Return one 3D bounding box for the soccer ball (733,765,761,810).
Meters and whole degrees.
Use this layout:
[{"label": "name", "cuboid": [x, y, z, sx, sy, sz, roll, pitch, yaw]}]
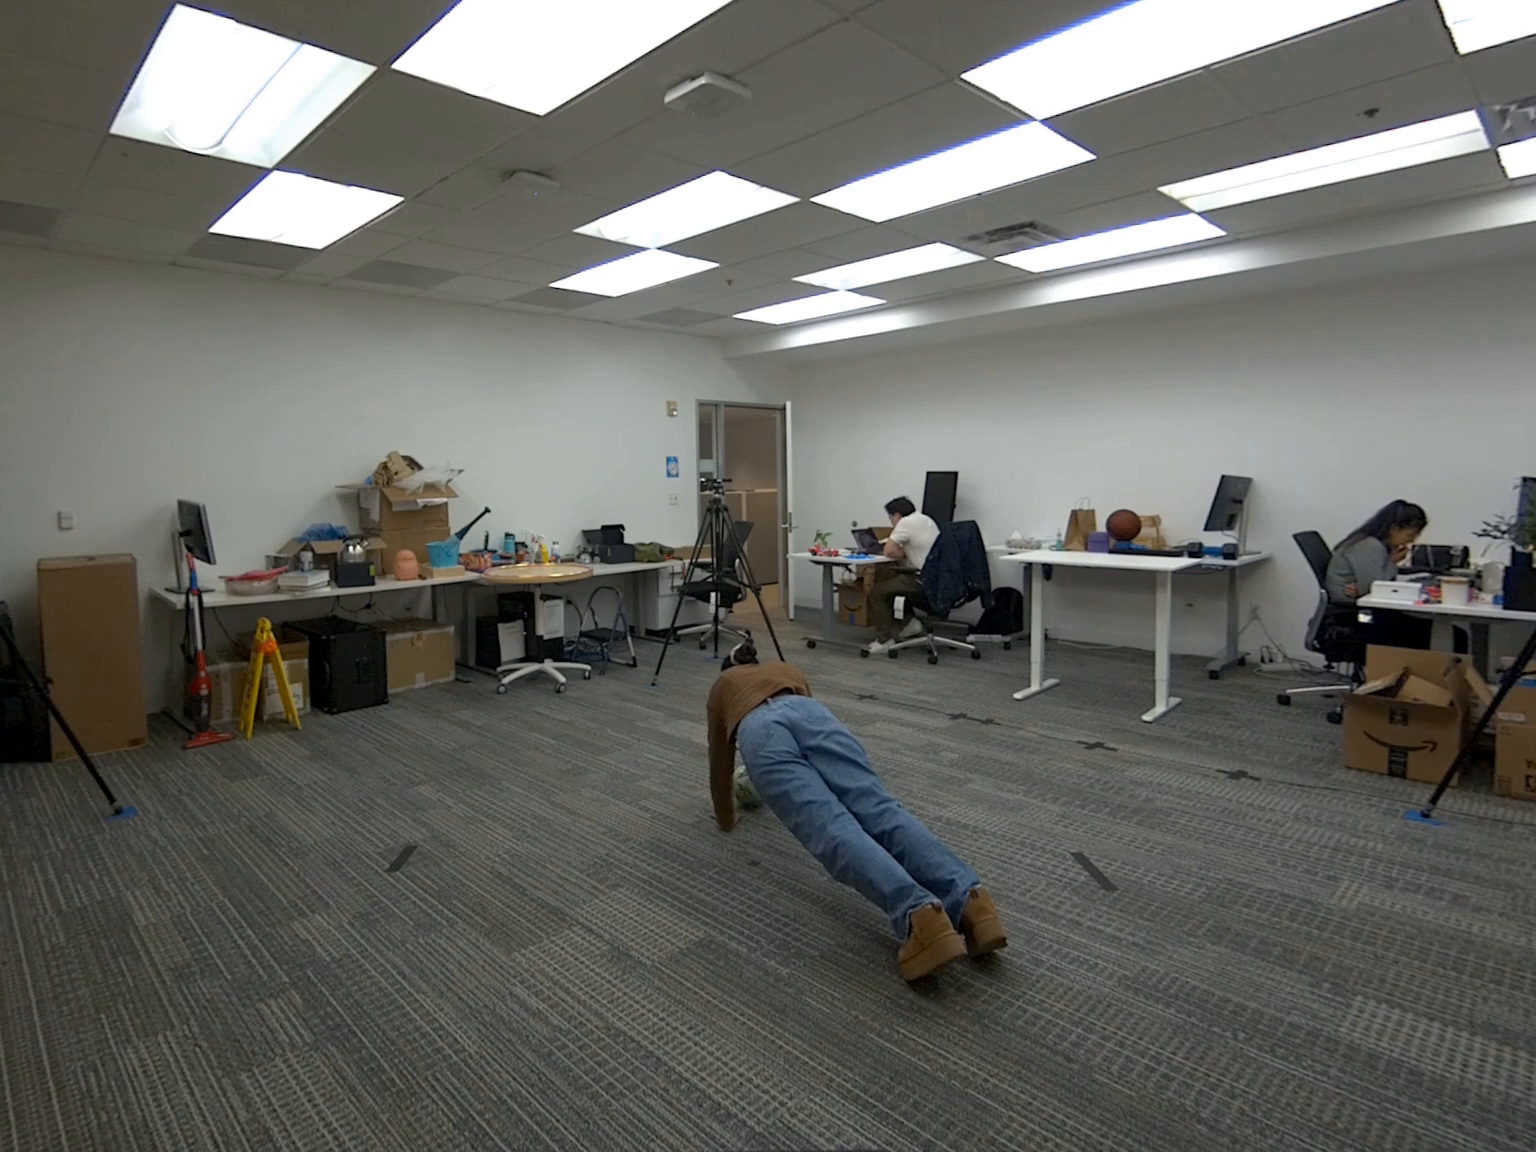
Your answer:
[{"label": "soccer ball", "cuboid": [-0.073, 0.893, 3.658, 0.187, 0.187, 0.188, -1, 5, -2]}]
